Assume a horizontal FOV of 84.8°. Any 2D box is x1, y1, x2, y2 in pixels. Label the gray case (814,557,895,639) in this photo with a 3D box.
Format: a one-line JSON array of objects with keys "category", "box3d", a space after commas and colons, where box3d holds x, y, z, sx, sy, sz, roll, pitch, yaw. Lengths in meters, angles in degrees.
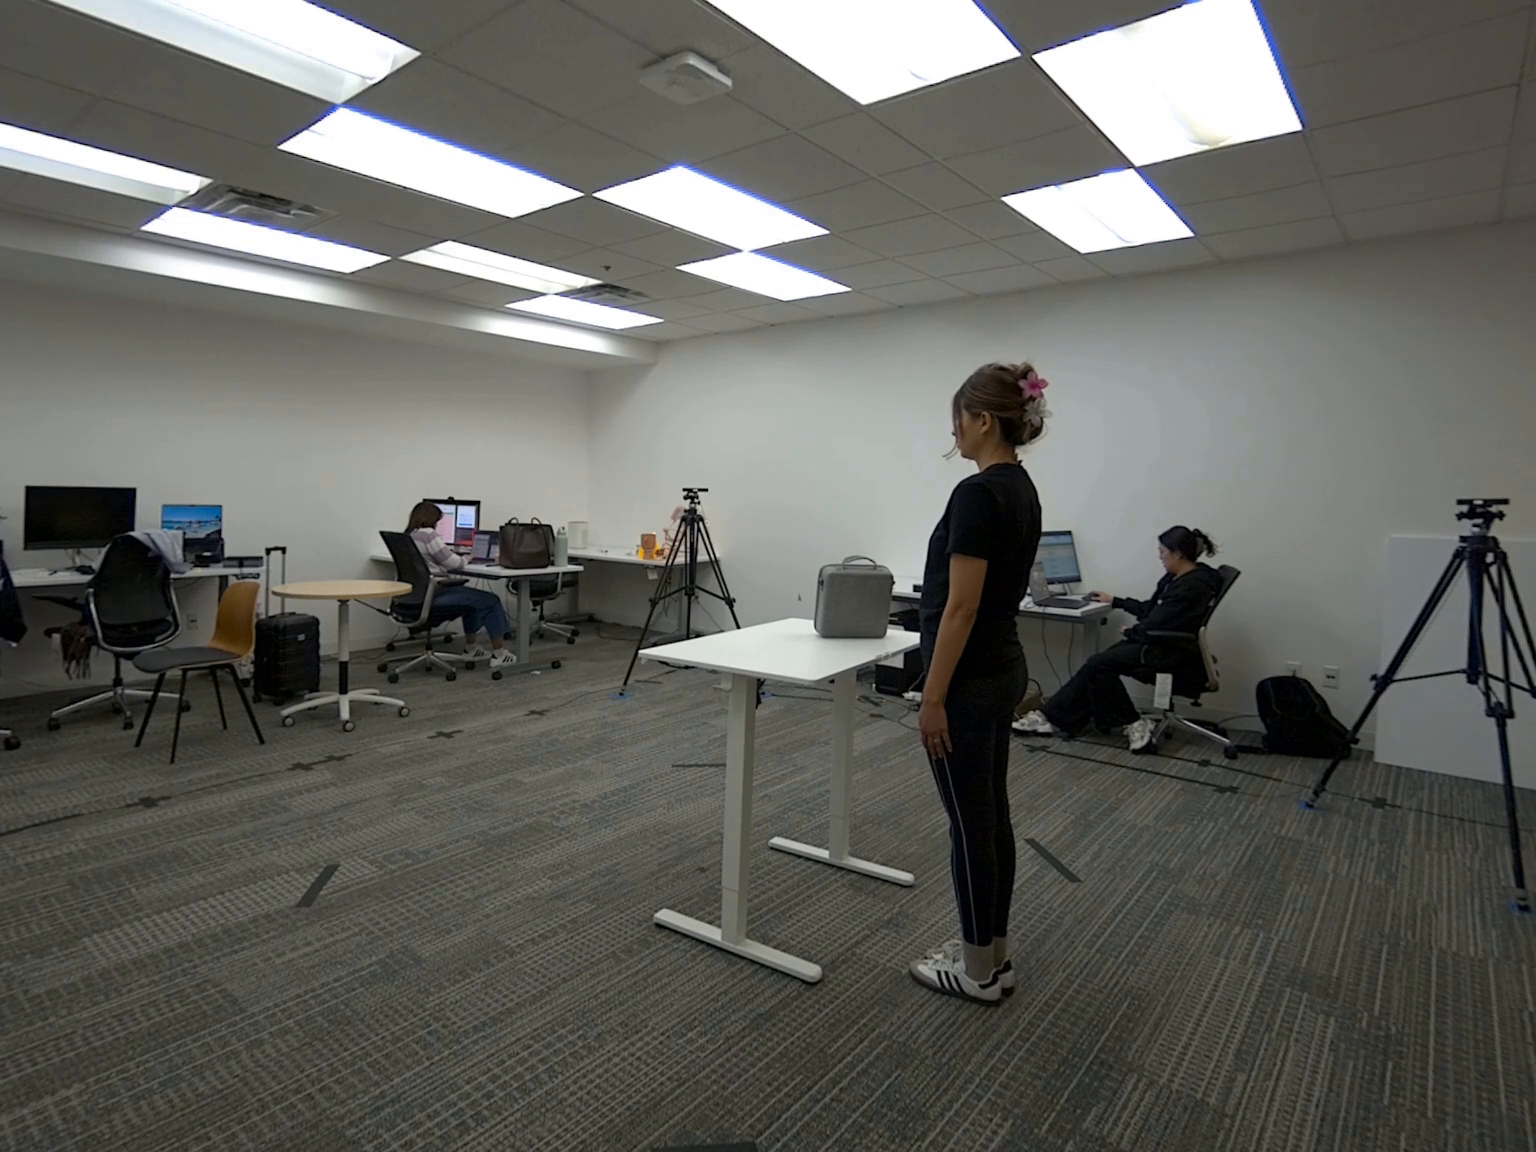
[{"category": "gray case", "box3d": [0.293, 0.084, 2.990, 0.254, 0.257, 0.107, 2, 14, -11]}]
